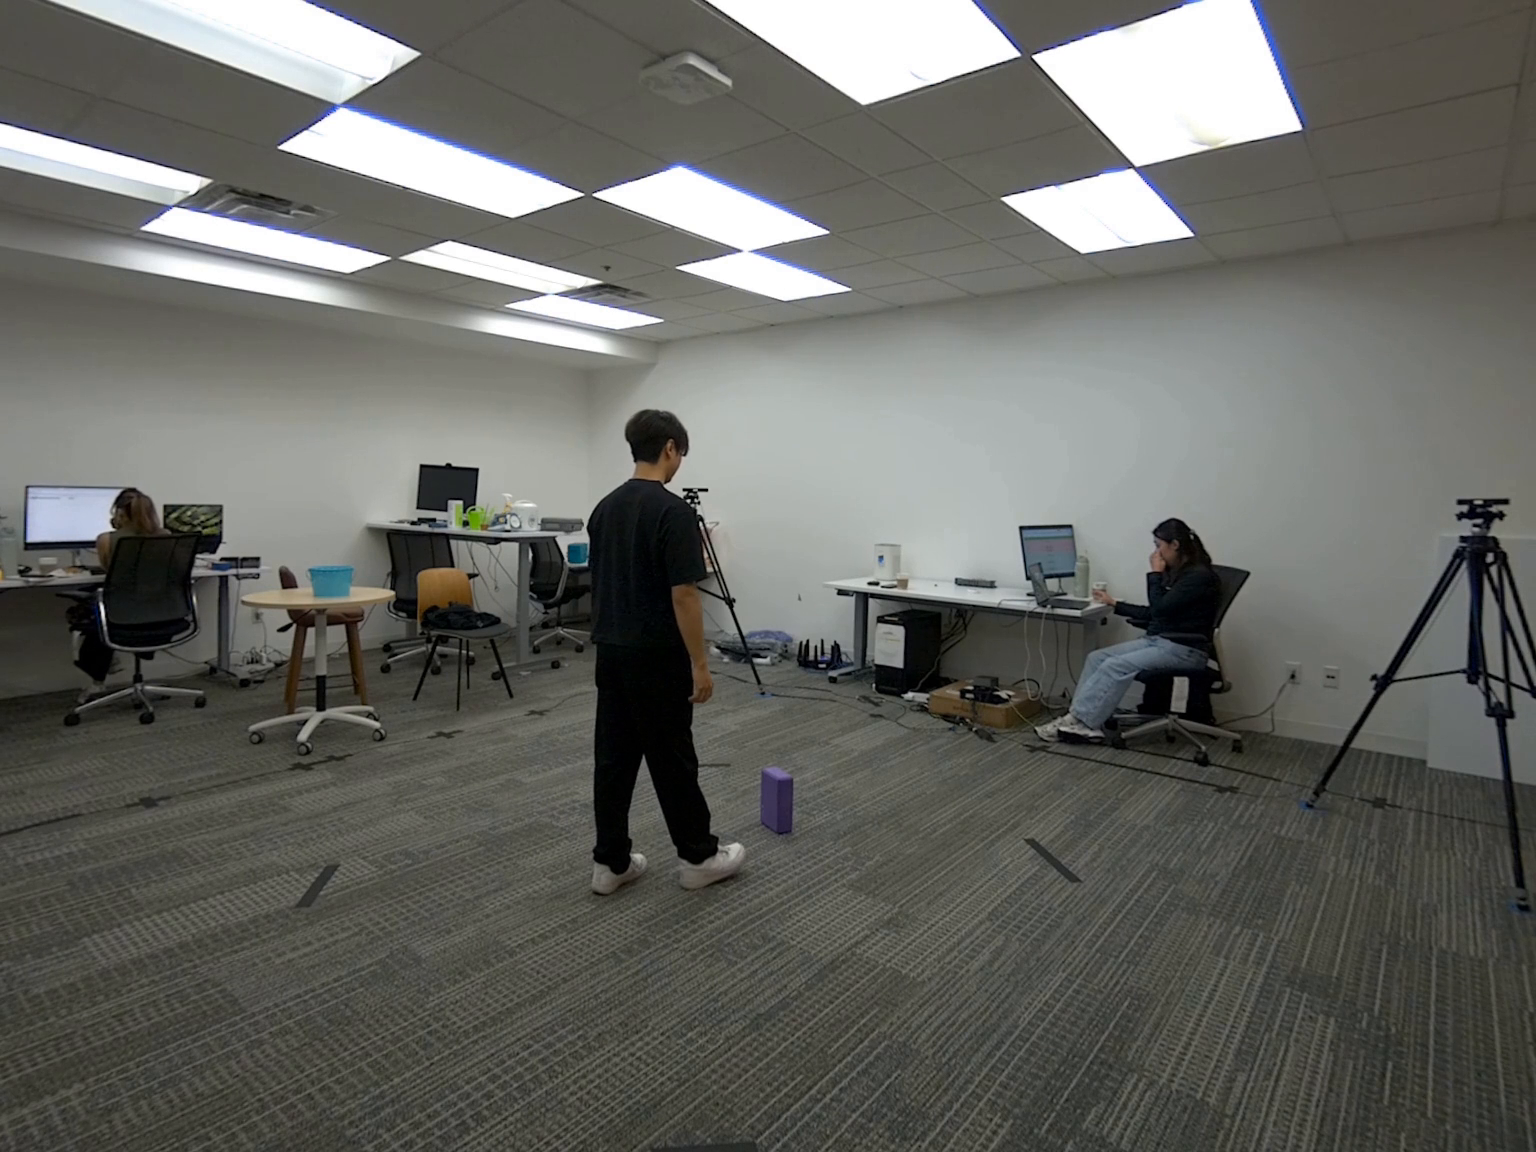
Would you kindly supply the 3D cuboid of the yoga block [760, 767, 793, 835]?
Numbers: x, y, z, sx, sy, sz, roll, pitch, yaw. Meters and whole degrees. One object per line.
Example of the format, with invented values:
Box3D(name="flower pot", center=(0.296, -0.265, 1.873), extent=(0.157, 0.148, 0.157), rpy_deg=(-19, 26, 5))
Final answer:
Box3D(name="yoga block", center=(0.029, 0.919, 3.510), extent=(0.074, 0.229, 0.153), rpy_deg=(0, 3, -30))
